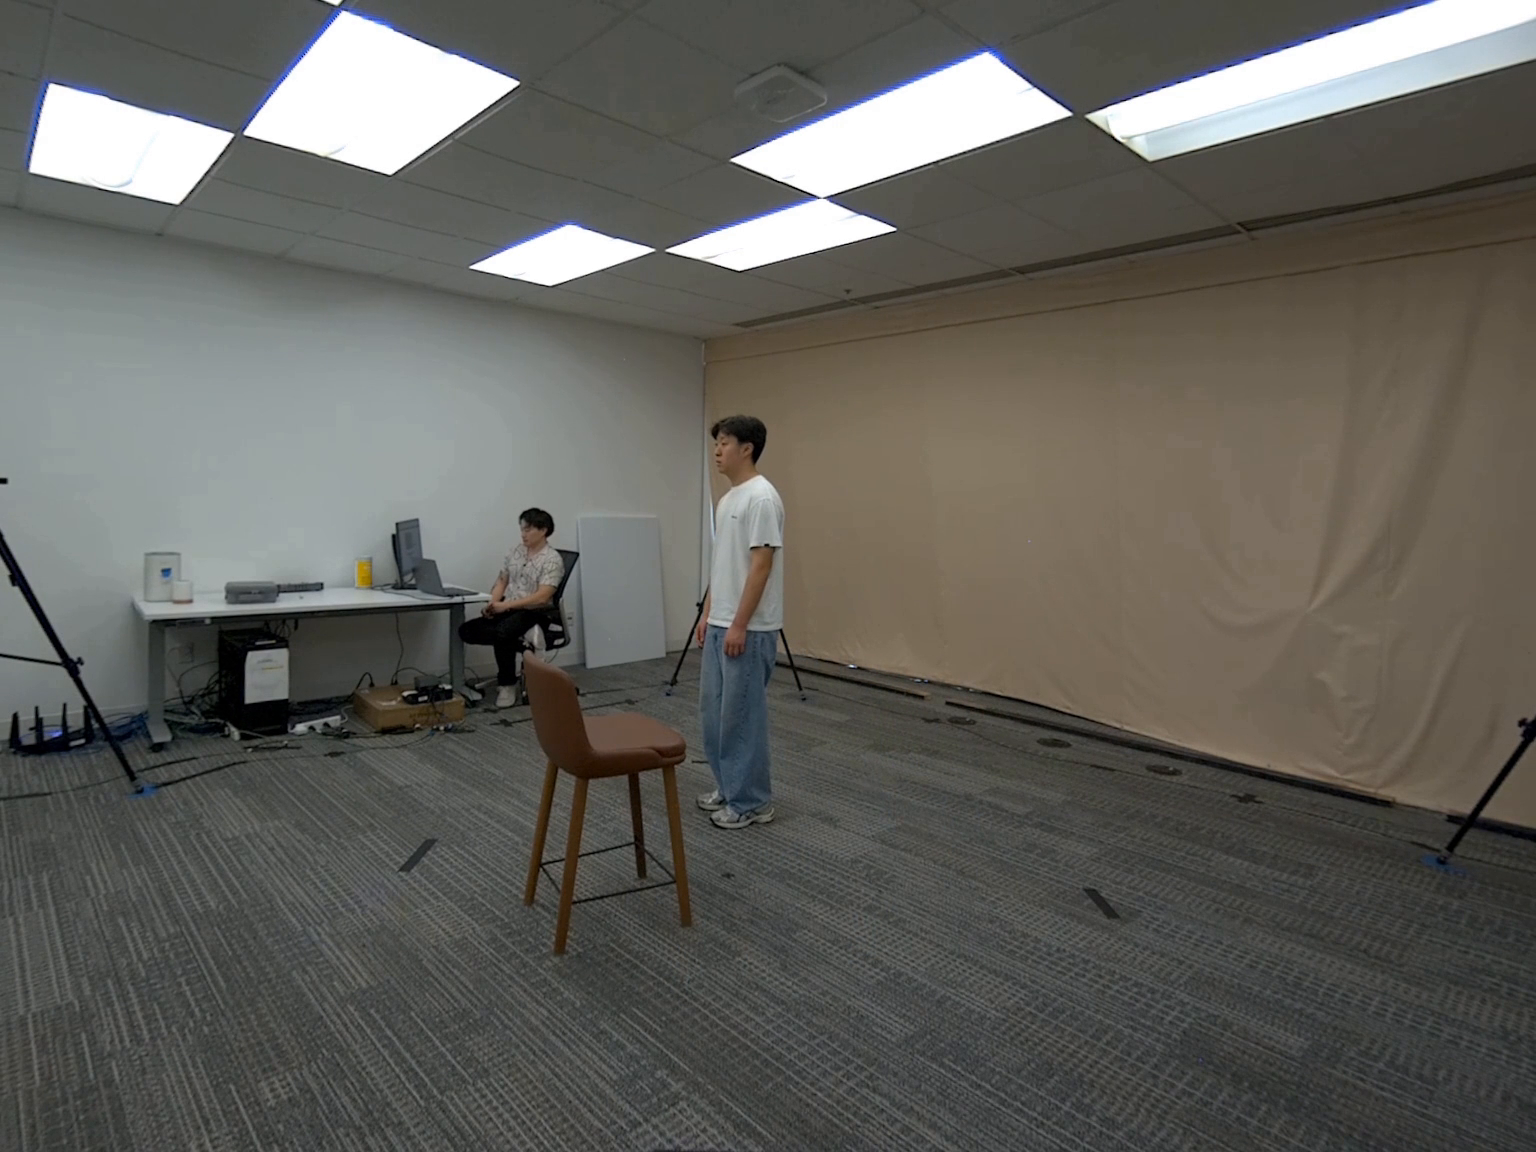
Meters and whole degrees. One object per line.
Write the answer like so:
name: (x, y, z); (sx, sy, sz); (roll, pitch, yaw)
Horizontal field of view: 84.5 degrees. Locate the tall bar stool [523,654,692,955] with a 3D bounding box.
tall bar stool: (-0.543, 0.690, 2.776); (0.458, 0.887, 0.467); (-3, 5, -30)
